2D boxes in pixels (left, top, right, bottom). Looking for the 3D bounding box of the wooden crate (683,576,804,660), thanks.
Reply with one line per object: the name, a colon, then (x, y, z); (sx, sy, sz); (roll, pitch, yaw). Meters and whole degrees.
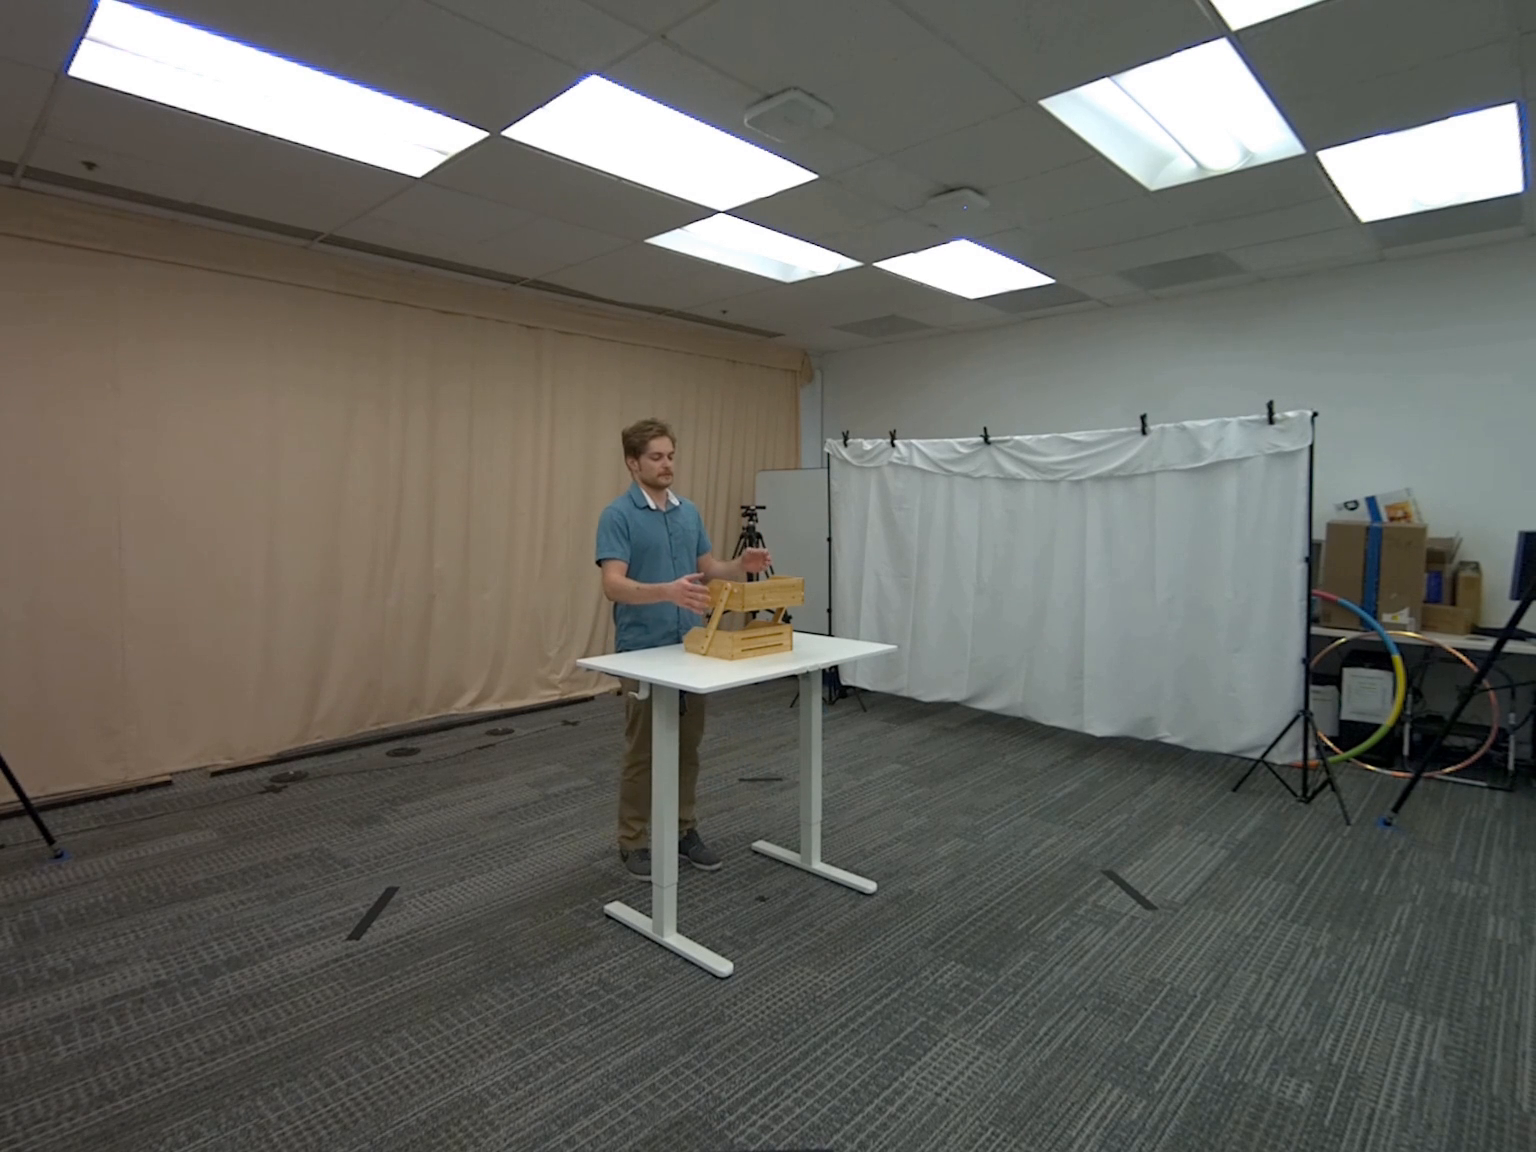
wooden crate: (-0.083, 0.133, 2.936); (0.314, 0.272, 0.312); (-4, 6, -44)
